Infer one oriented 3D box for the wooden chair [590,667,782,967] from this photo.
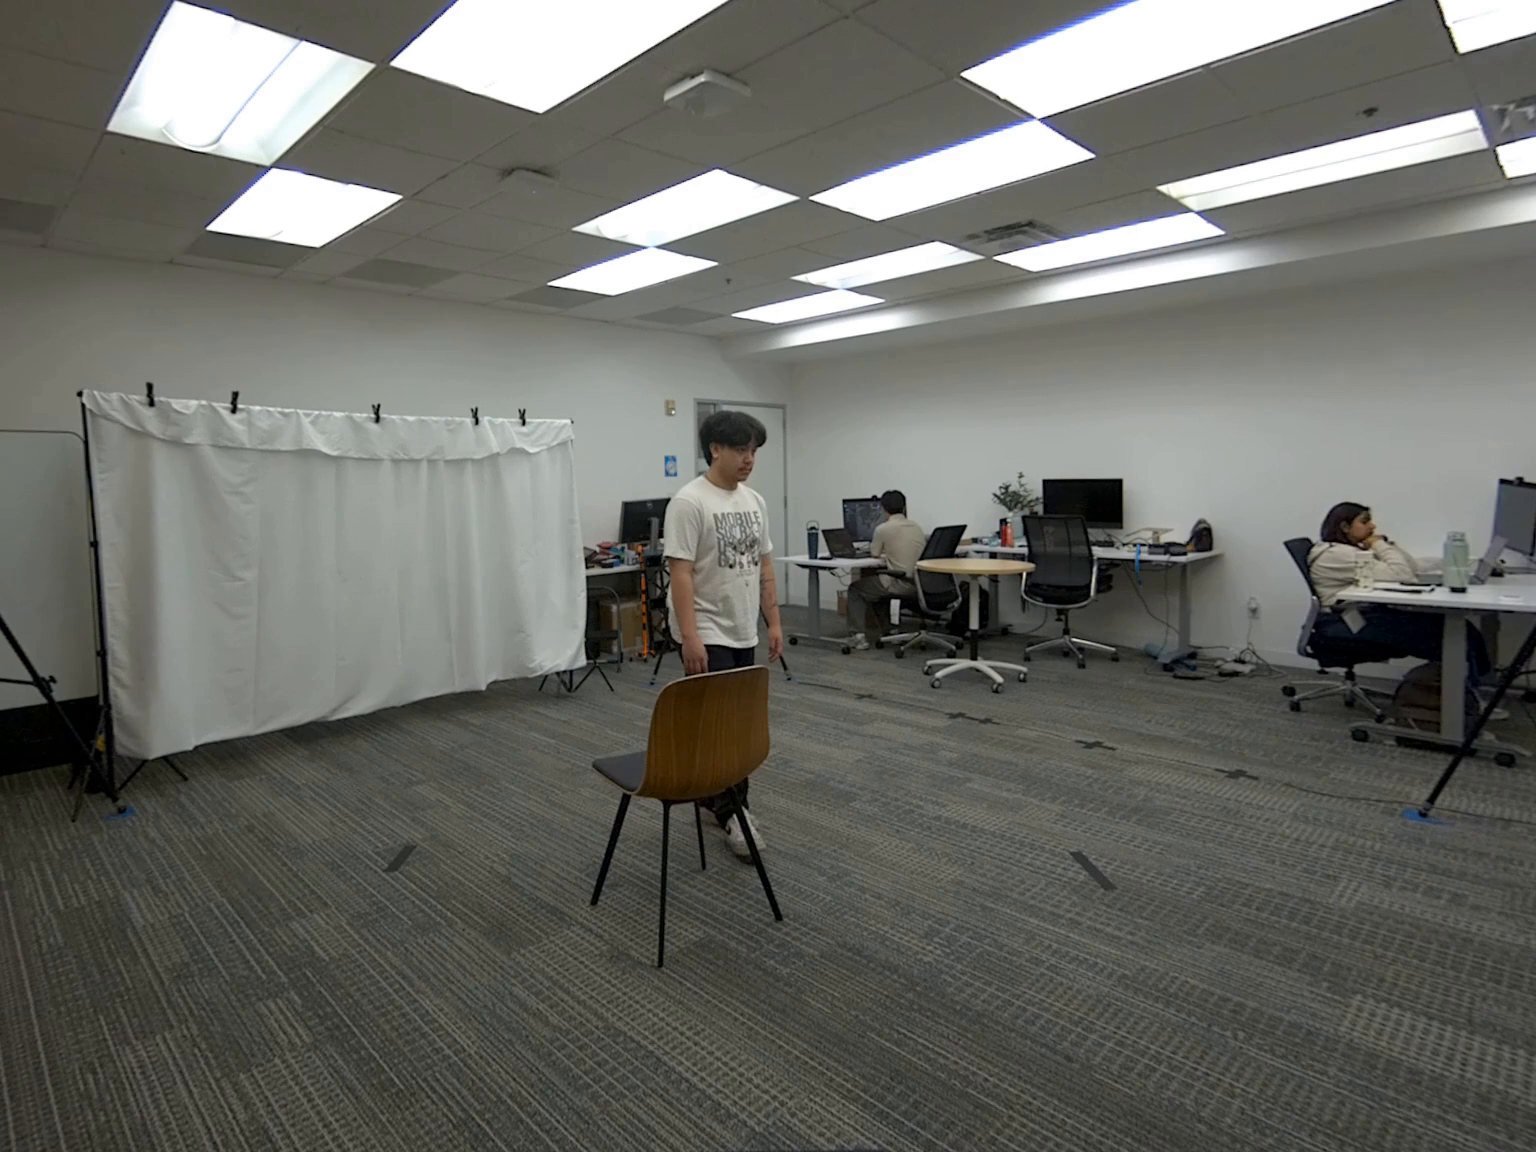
[{"bbox_3d":[-0.281,0.665,2.731,0.466,0.871,0.540,-5,10,-36],"label":"wooden chair"}]
